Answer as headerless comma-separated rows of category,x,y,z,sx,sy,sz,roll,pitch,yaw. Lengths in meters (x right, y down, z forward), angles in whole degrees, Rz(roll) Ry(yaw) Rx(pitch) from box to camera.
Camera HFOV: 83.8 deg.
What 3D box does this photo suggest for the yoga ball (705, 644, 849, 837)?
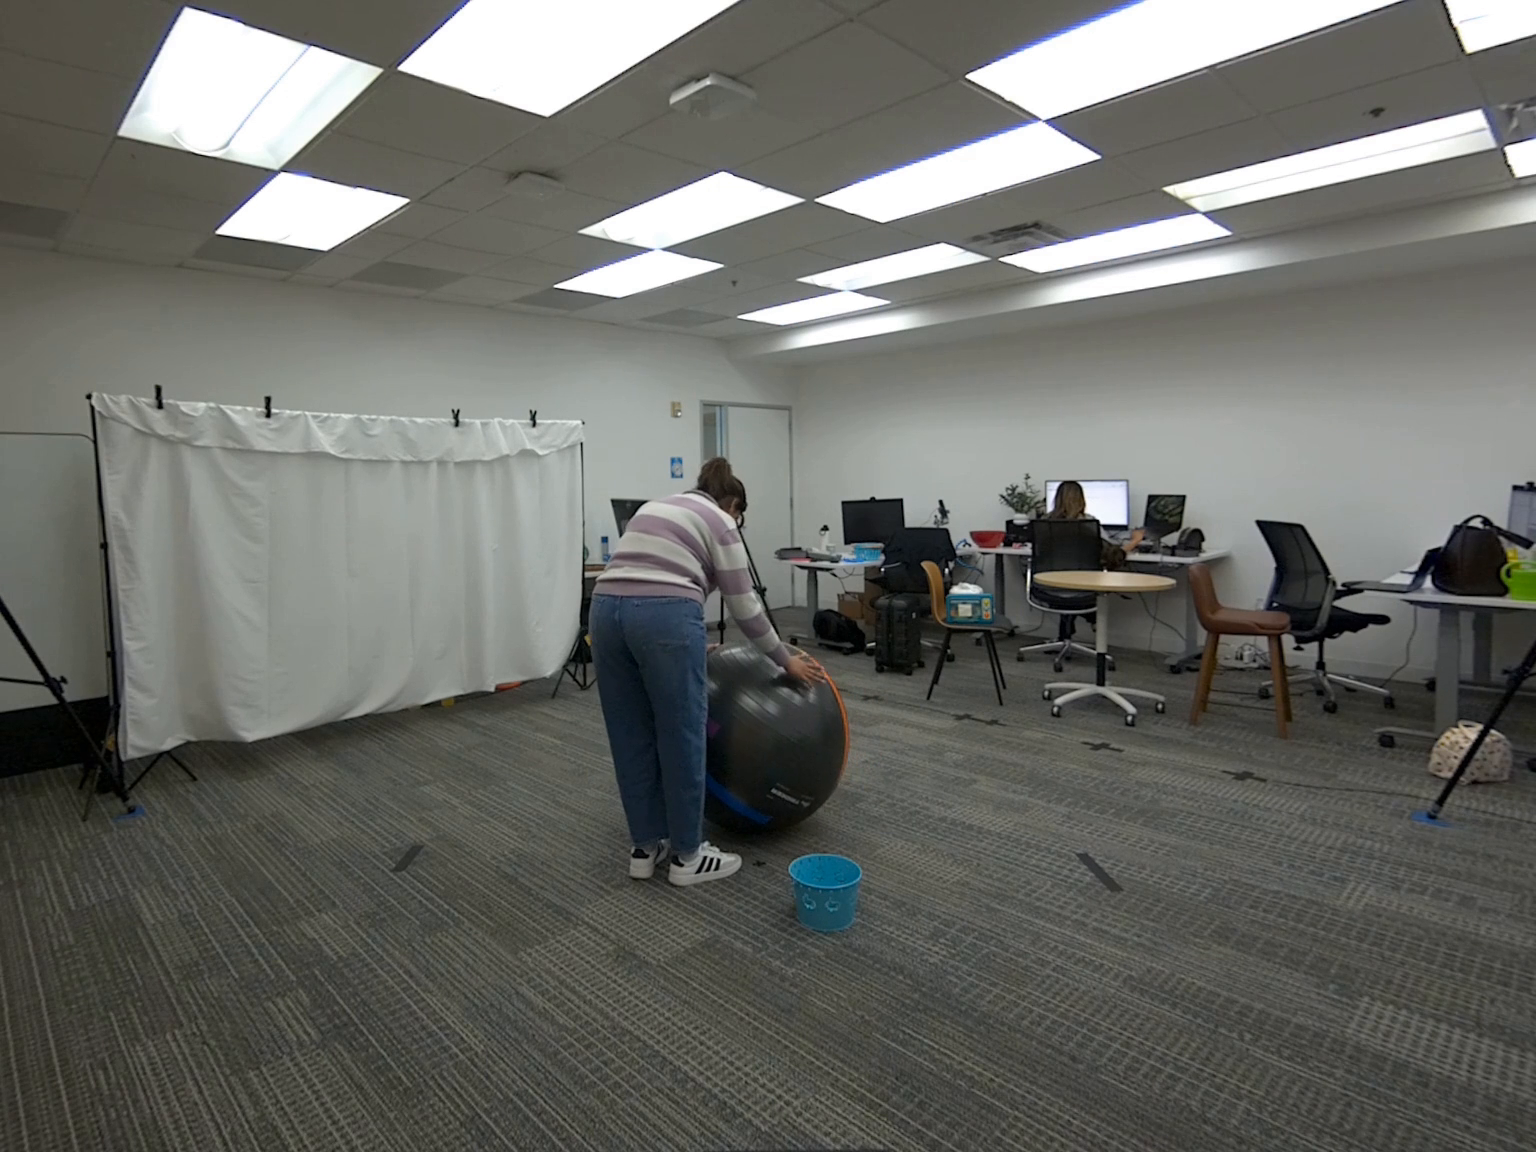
yoga ball,-0.052,0.638,3.459,0.757,0.755,0.762,-1,5,-2
